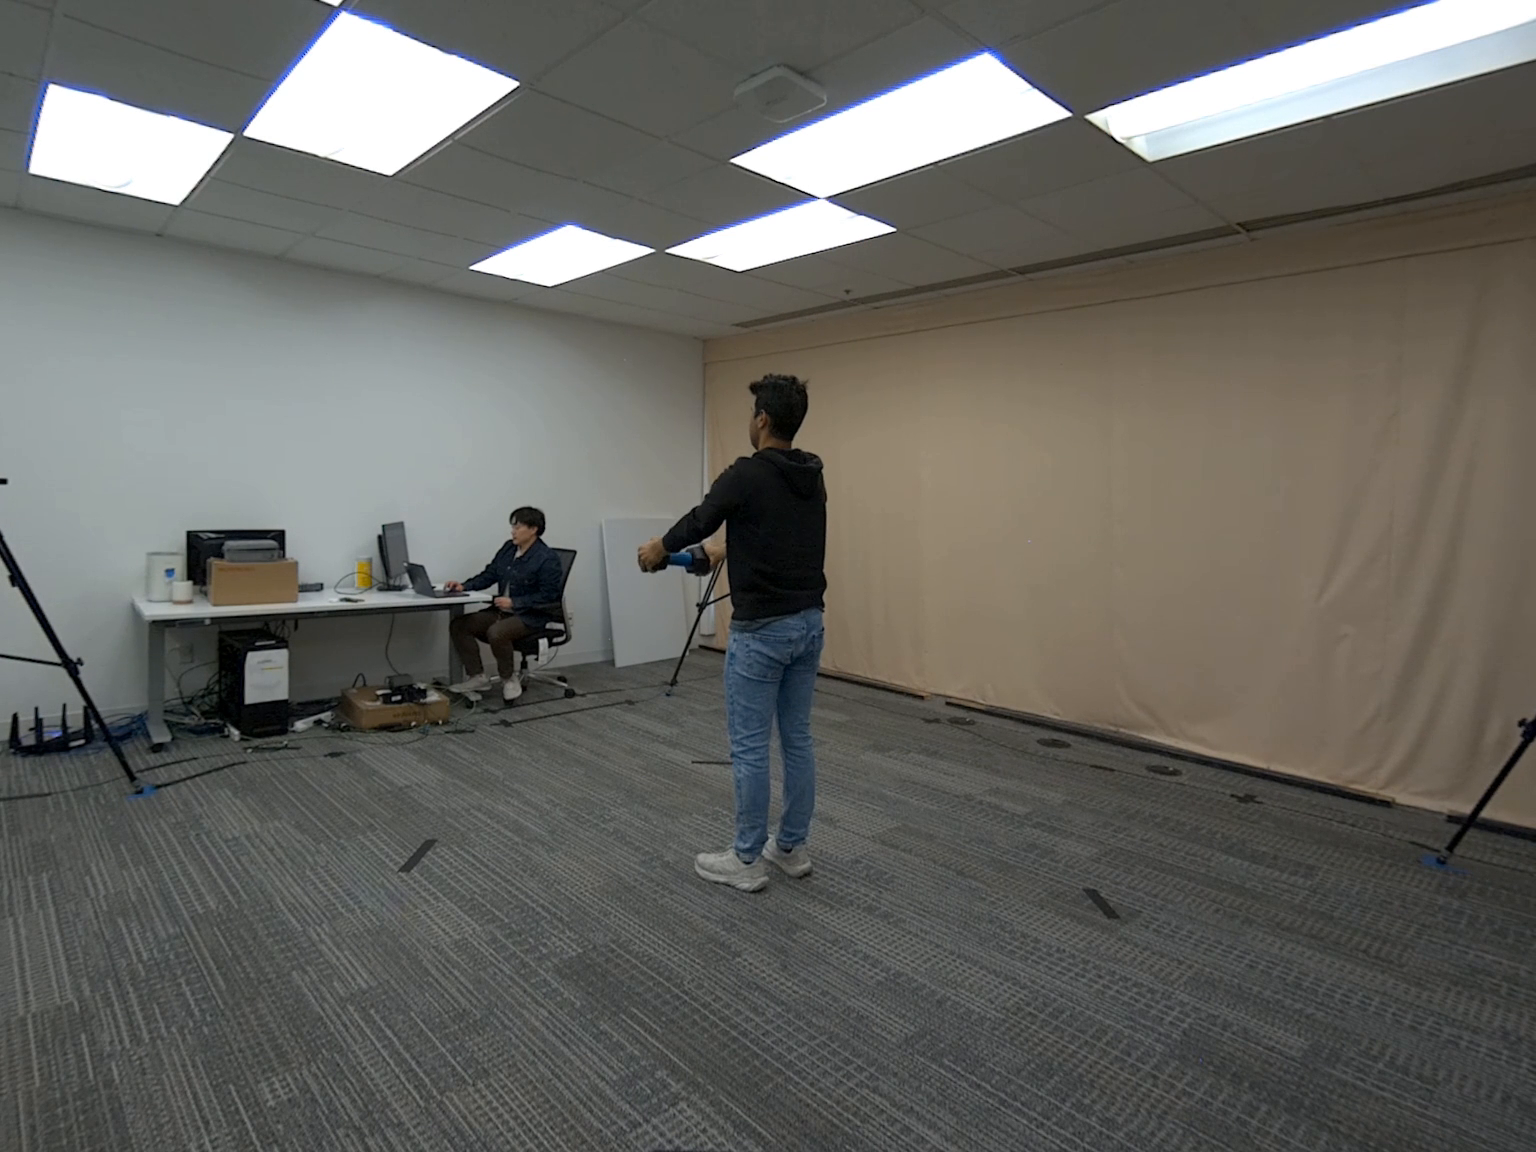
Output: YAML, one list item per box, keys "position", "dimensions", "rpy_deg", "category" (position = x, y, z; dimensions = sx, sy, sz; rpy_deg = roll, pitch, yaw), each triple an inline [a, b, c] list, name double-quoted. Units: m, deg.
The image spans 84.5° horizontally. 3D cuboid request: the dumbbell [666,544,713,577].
- position: [-0.386, -0.099, 3.454]
  dimensions: [0.286, 0.126, 0.108]
  rpy_deg: [3, -38, -40]
  category: "dumbbell"
